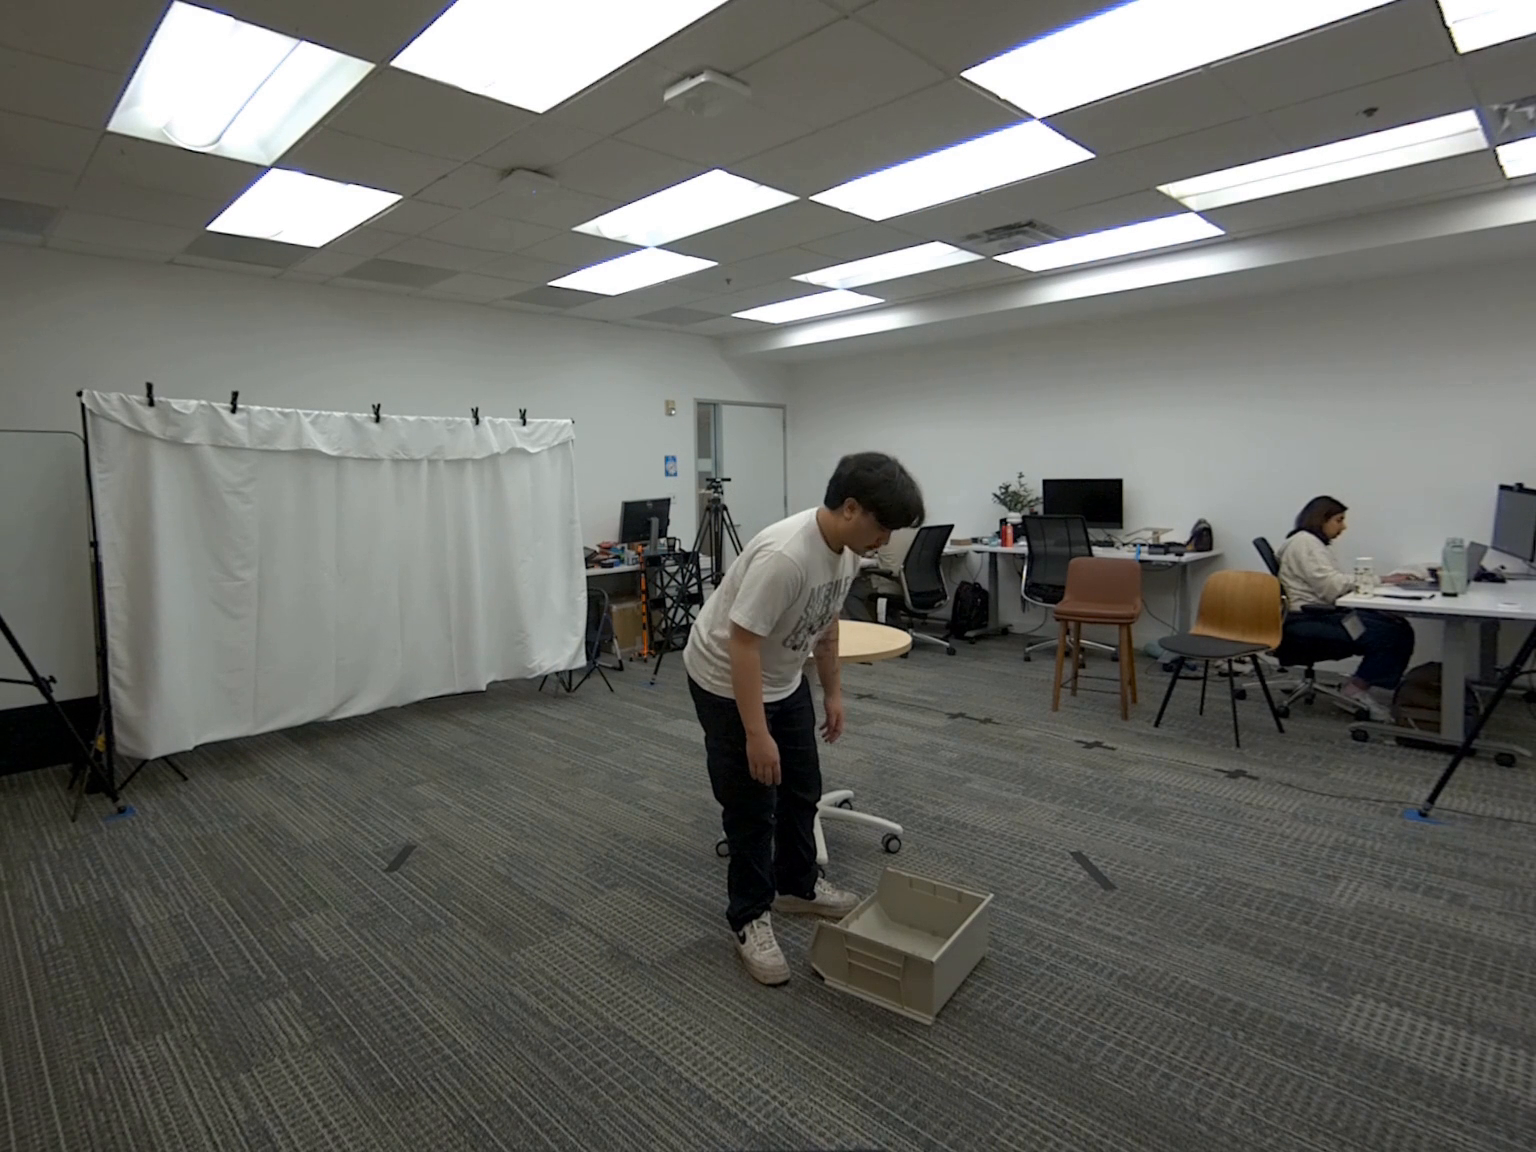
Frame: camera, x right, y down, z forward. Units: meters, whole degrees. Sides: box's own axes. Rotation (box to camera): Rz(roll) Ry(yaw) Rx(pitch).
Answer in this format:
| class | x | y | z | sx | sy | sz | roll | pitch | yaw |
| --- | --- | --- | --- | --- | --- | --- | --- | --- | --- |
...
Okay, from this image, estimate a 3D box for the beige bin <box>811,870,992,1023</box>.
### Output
| class | x | y | z | sx | sy | sz | roll | pitch | yaw |
| --- | --- | --- | --- | --- | --- | --- | --- | --- | --- |
| beige bin | 0.379 | 1.019 | 2.434 | 0.388 | 0.188 | 0.412 | 4 | 7 | 36 |
